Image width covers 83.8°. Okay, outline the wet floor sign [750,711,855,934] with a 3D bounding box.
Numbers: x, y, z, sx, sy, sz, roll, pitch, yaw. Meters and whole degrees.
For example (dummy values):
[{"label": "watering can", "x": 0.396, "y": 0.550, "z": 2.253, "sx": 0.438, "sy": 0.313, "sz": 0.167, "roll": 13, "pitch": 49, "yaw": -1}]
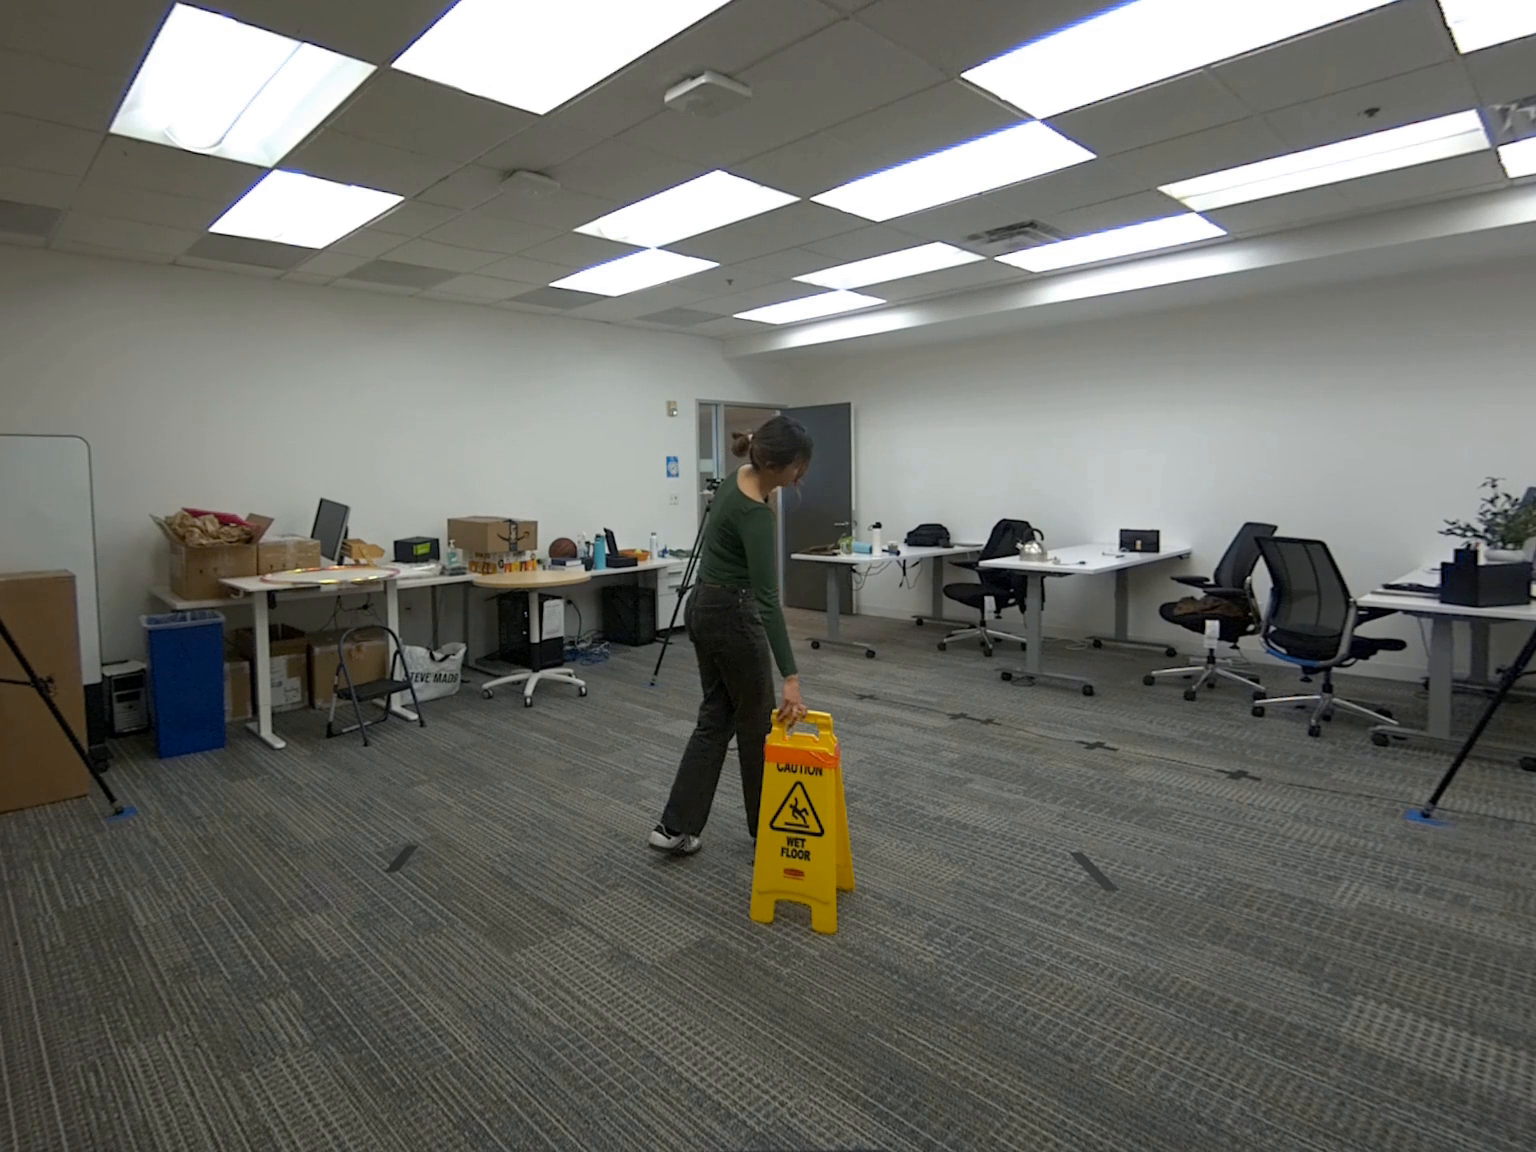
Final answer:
[{"label": "wet floor sign", "x": 0.120, "y": 0.758, "z": 2.781, "sx": 0.288, "sy": 0.643, "sz": 0.285, "roll": 2, "pitch": 5, "yaw": 19}]
